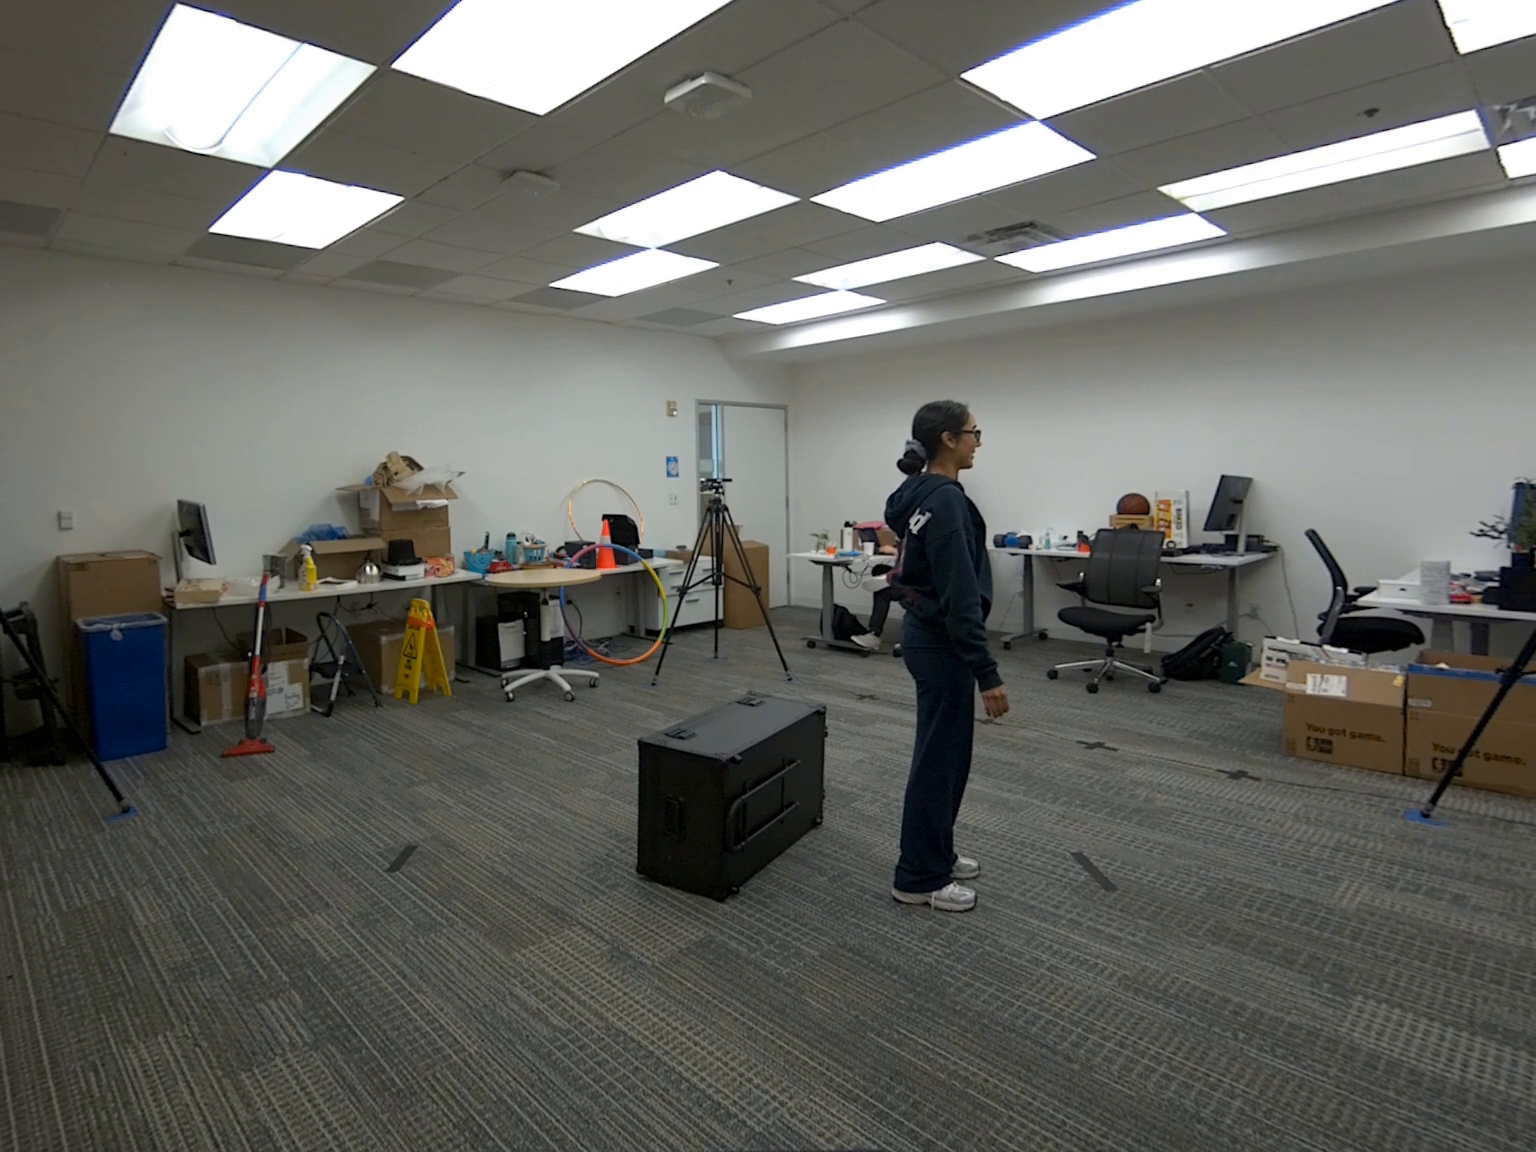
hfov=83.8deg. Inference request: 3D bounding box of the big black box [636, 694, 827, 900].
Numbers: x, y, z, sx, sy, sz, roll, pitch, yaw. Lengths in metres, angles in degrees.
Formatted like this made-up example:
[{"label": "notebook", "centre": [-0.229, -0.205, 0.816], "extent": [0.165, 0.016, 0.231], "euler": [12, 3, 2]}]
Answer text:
[{"label": "big black box", "centre": [-0.085, 0.774, 3.238], "extent": [0.407, 0.518, 0.843], "euler": [4, 8, 29]}]
